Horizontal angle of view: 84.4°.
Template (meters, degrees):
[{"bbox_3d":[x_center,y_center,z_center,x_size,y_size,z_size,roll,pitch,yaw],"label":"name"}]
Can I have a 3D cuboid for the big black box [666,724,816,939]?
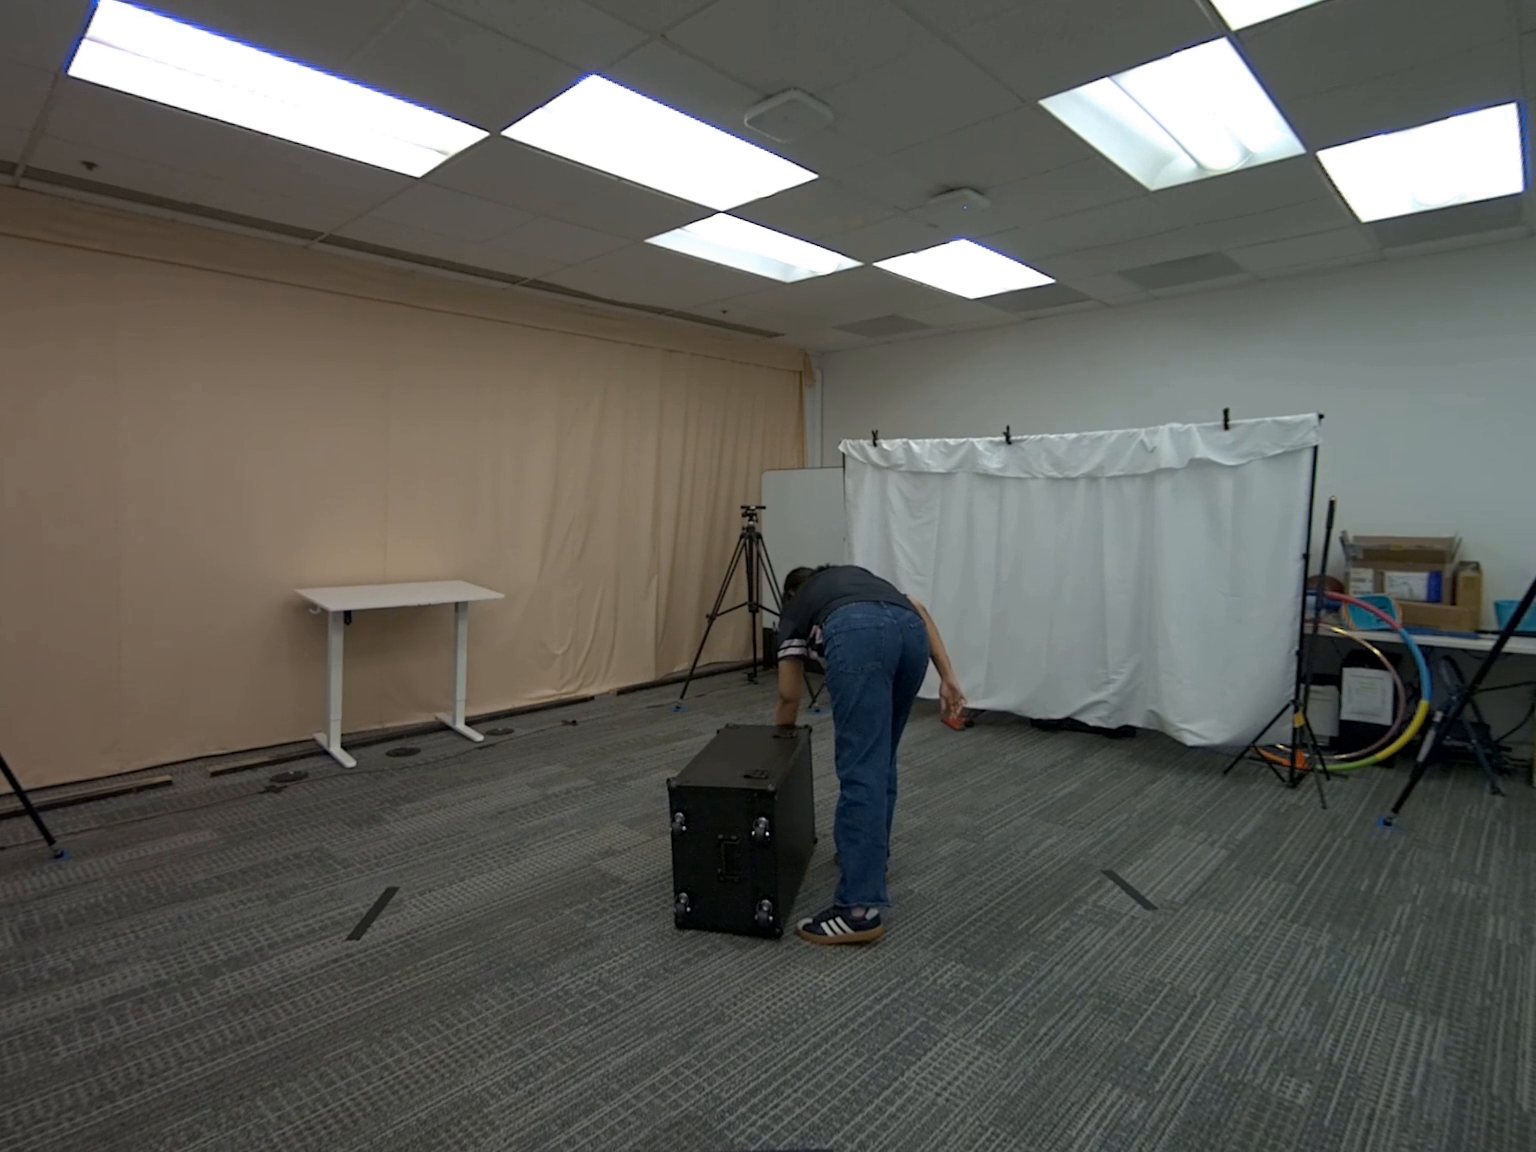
[{"bbox_3d":[-0.075,0.882,3.056,0.391,0.522,0.857,1,4,12],"label":"big black box"}]
